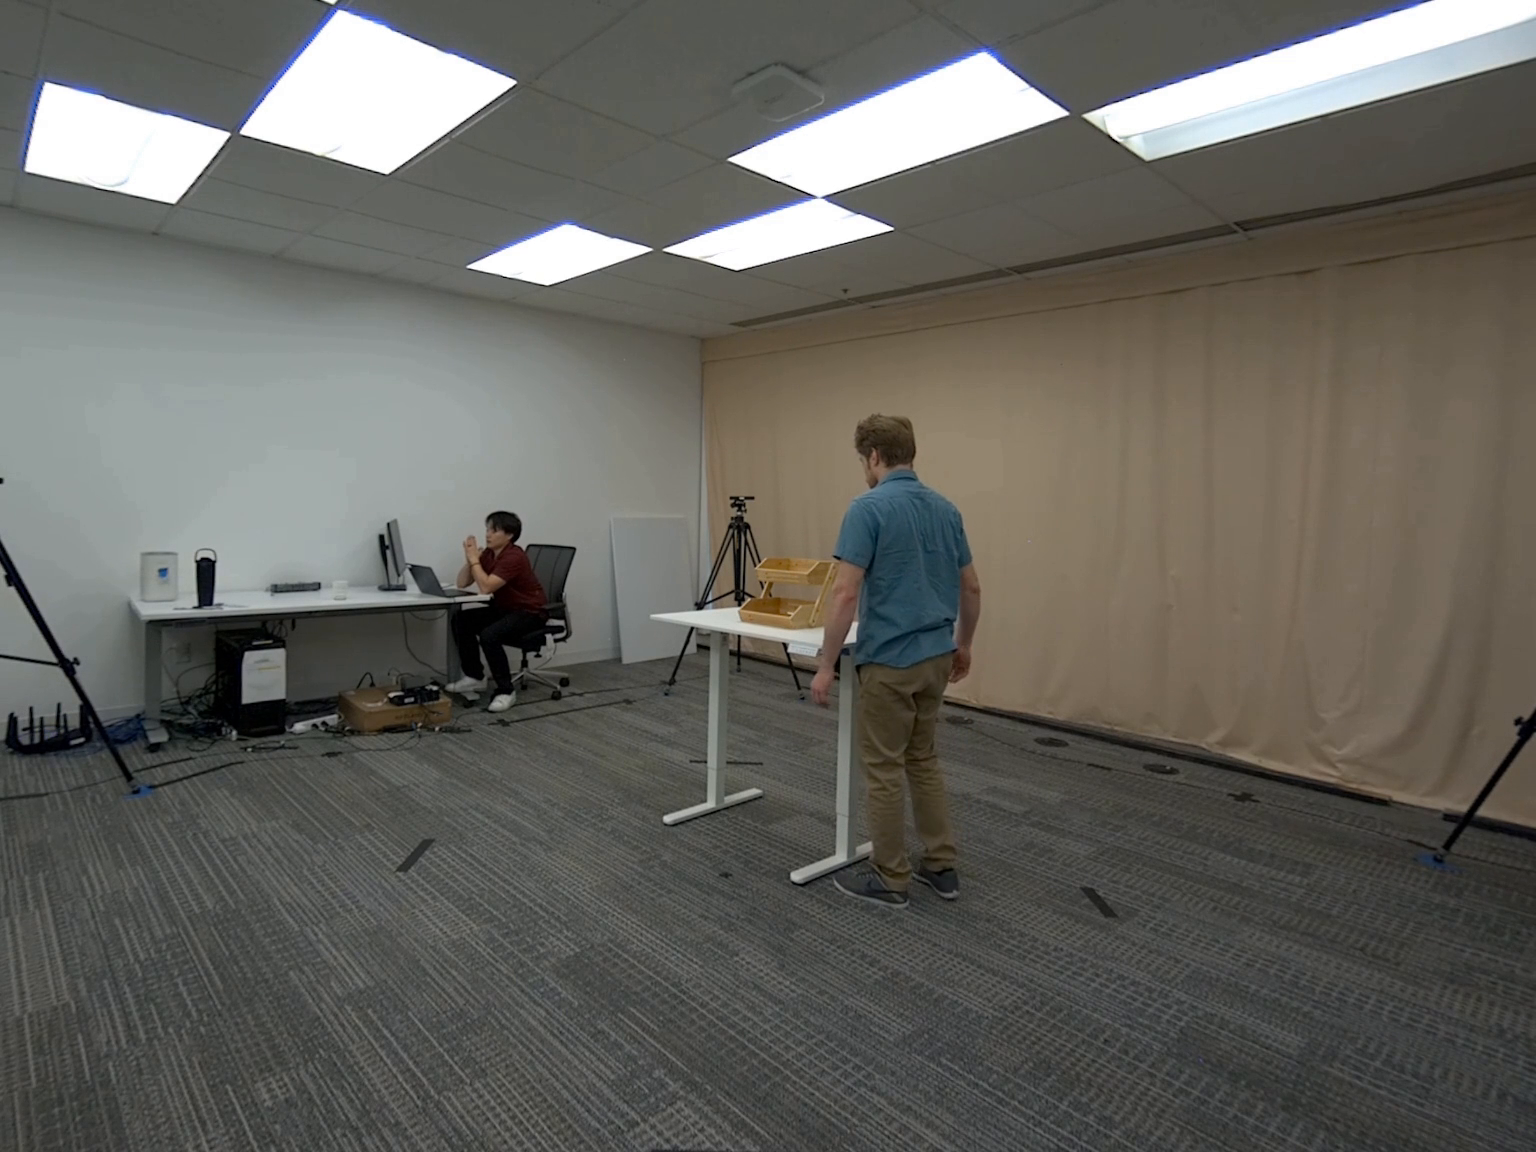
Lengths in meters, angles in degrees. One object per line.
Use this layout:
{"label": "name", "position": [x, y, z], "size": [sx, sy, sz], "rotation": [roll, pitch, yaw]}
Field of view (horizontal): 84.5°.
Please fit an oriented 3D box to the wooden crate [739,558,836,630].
{"label": "wooden crate", "position": [0.083, 0.062, 3.463], "size": [0.295, 0.273, 0.333], "rotation": [-1, 4, -44]}
